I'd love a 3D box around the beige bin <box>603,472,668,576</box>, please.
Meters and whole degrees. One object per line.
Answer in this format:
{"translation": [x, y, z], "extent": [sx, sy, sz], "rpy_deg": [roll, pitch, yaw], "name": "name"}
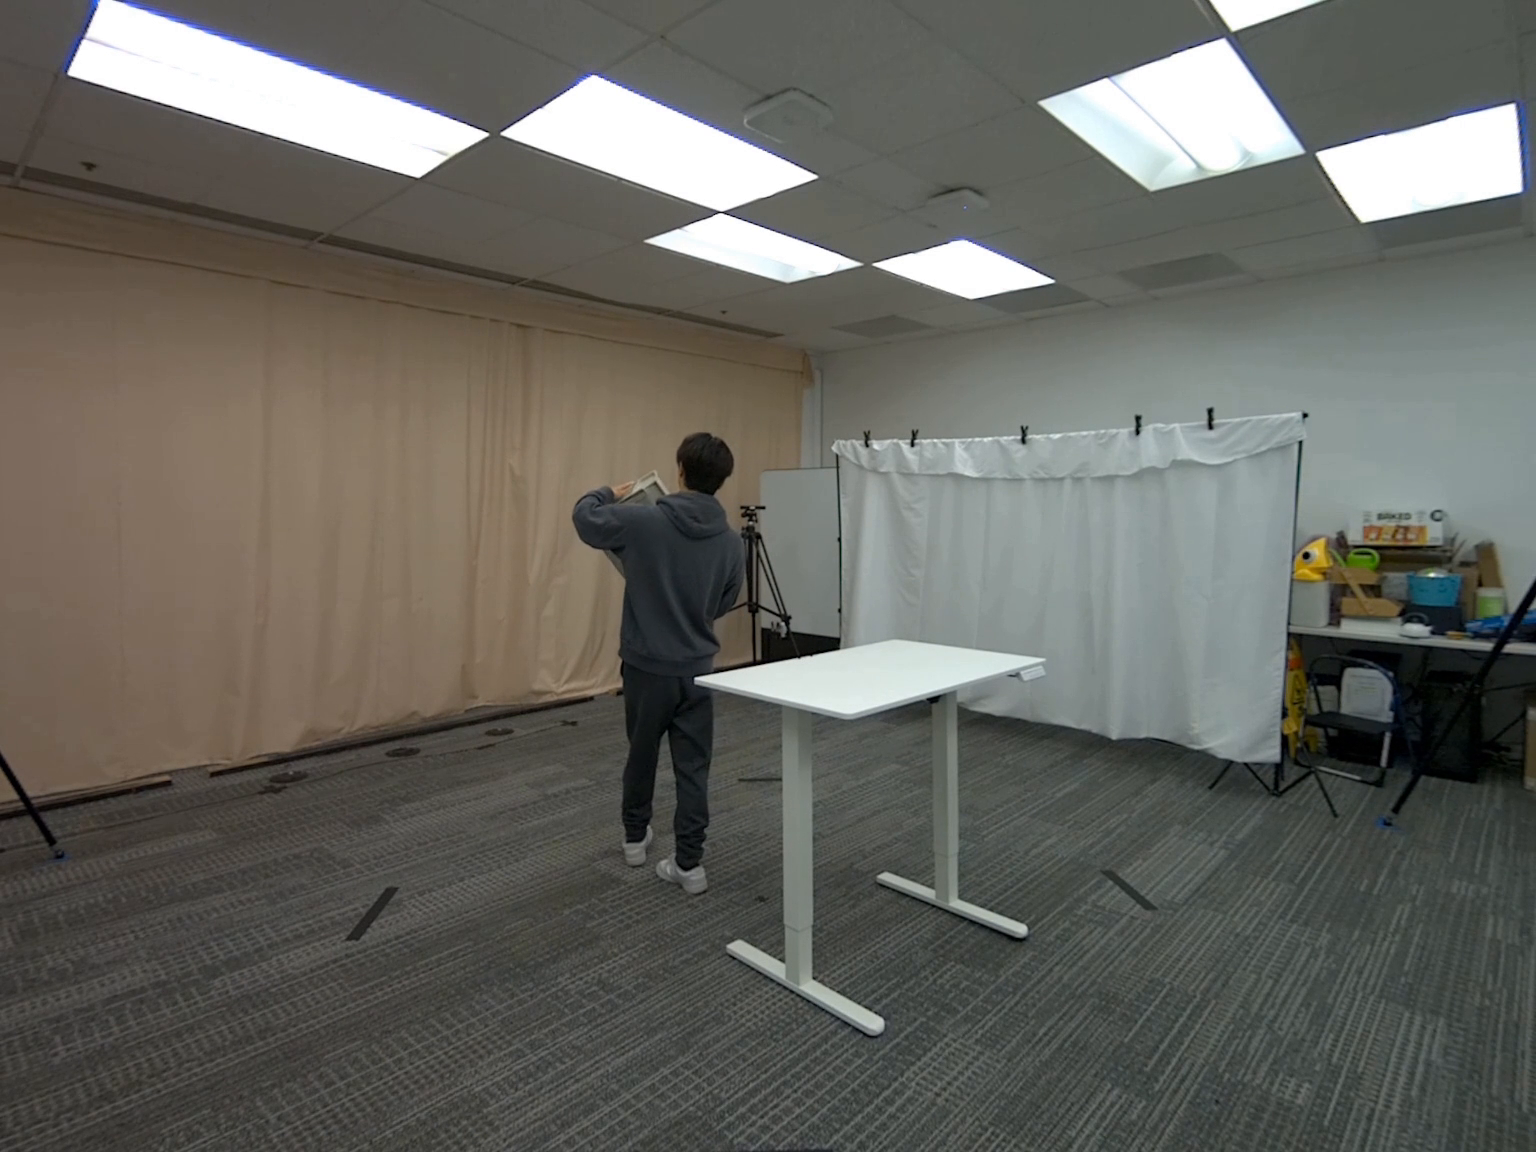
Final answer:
{"translation": [-0.484, -0.167, 3.475], "extent": [0.382, 0.414, 0.190], "rpy_deg": [-29, 20, 19], "name": "beige bin"}
